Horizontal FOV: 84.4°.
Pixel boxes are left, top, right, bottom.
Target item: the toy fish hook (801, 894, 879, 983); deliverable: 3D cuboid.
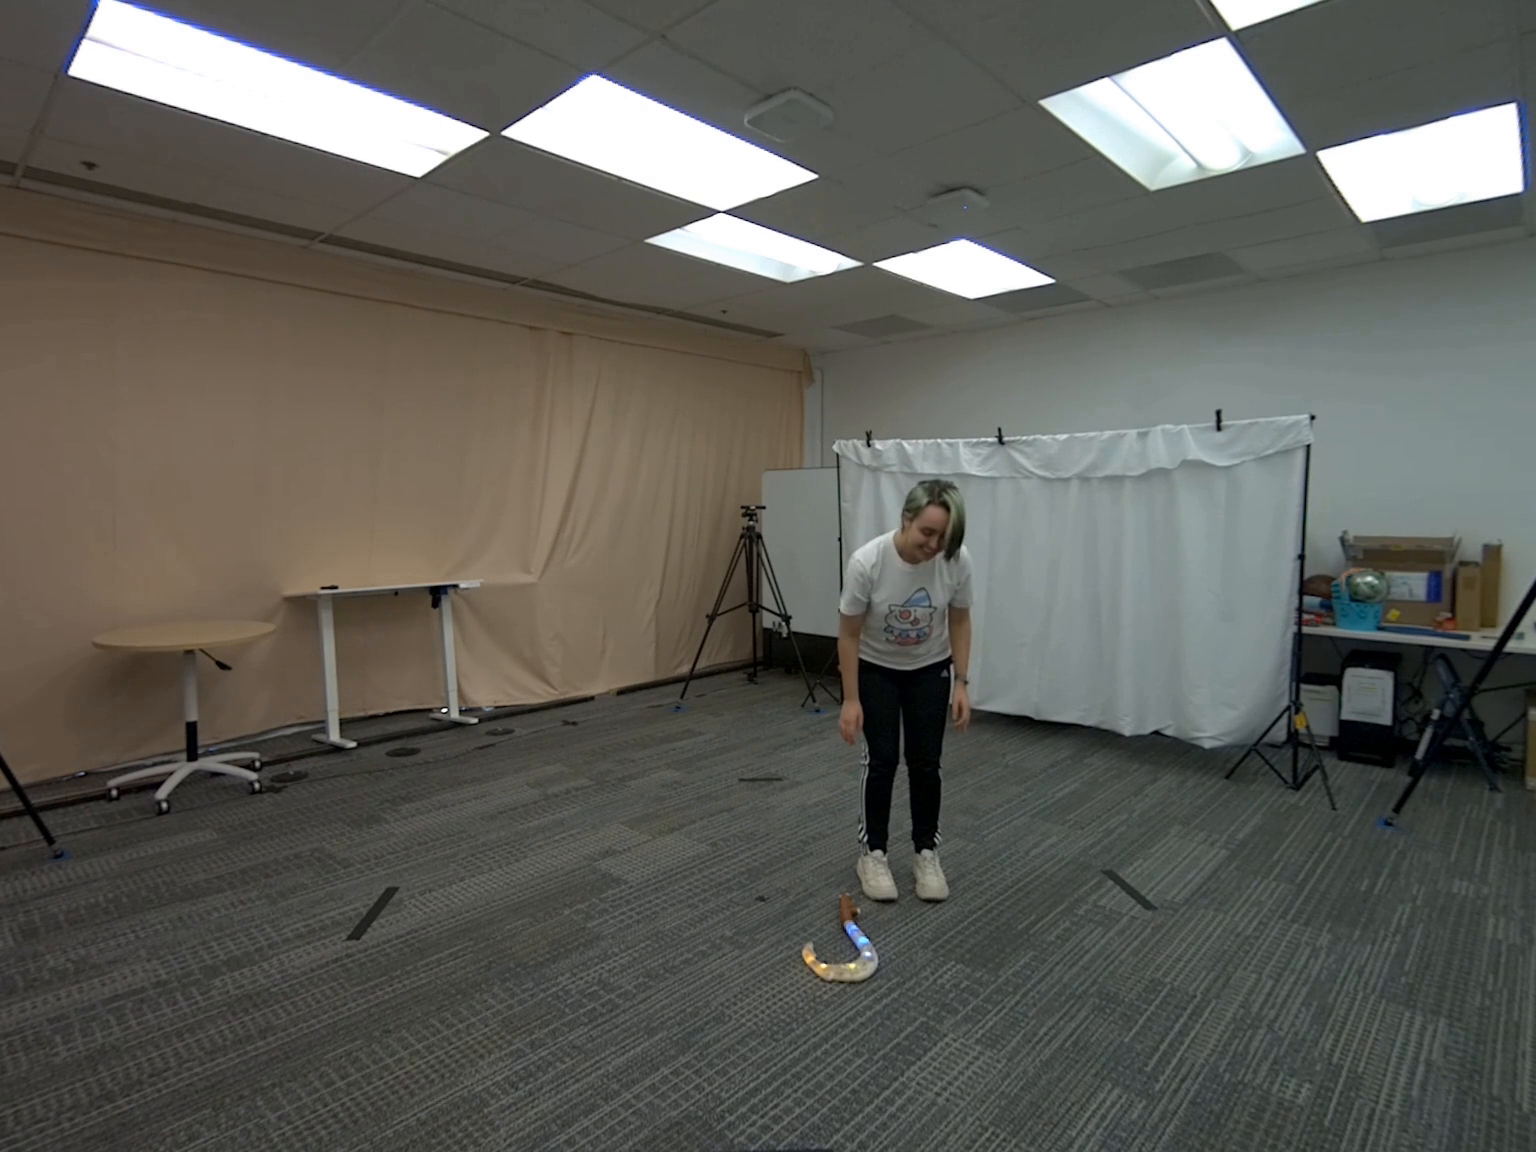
[{"bbox_3d":[0.220,1.143,2.697,0.225,0.048,0.507,1,4,0],"label":"toy fish hook"}]
